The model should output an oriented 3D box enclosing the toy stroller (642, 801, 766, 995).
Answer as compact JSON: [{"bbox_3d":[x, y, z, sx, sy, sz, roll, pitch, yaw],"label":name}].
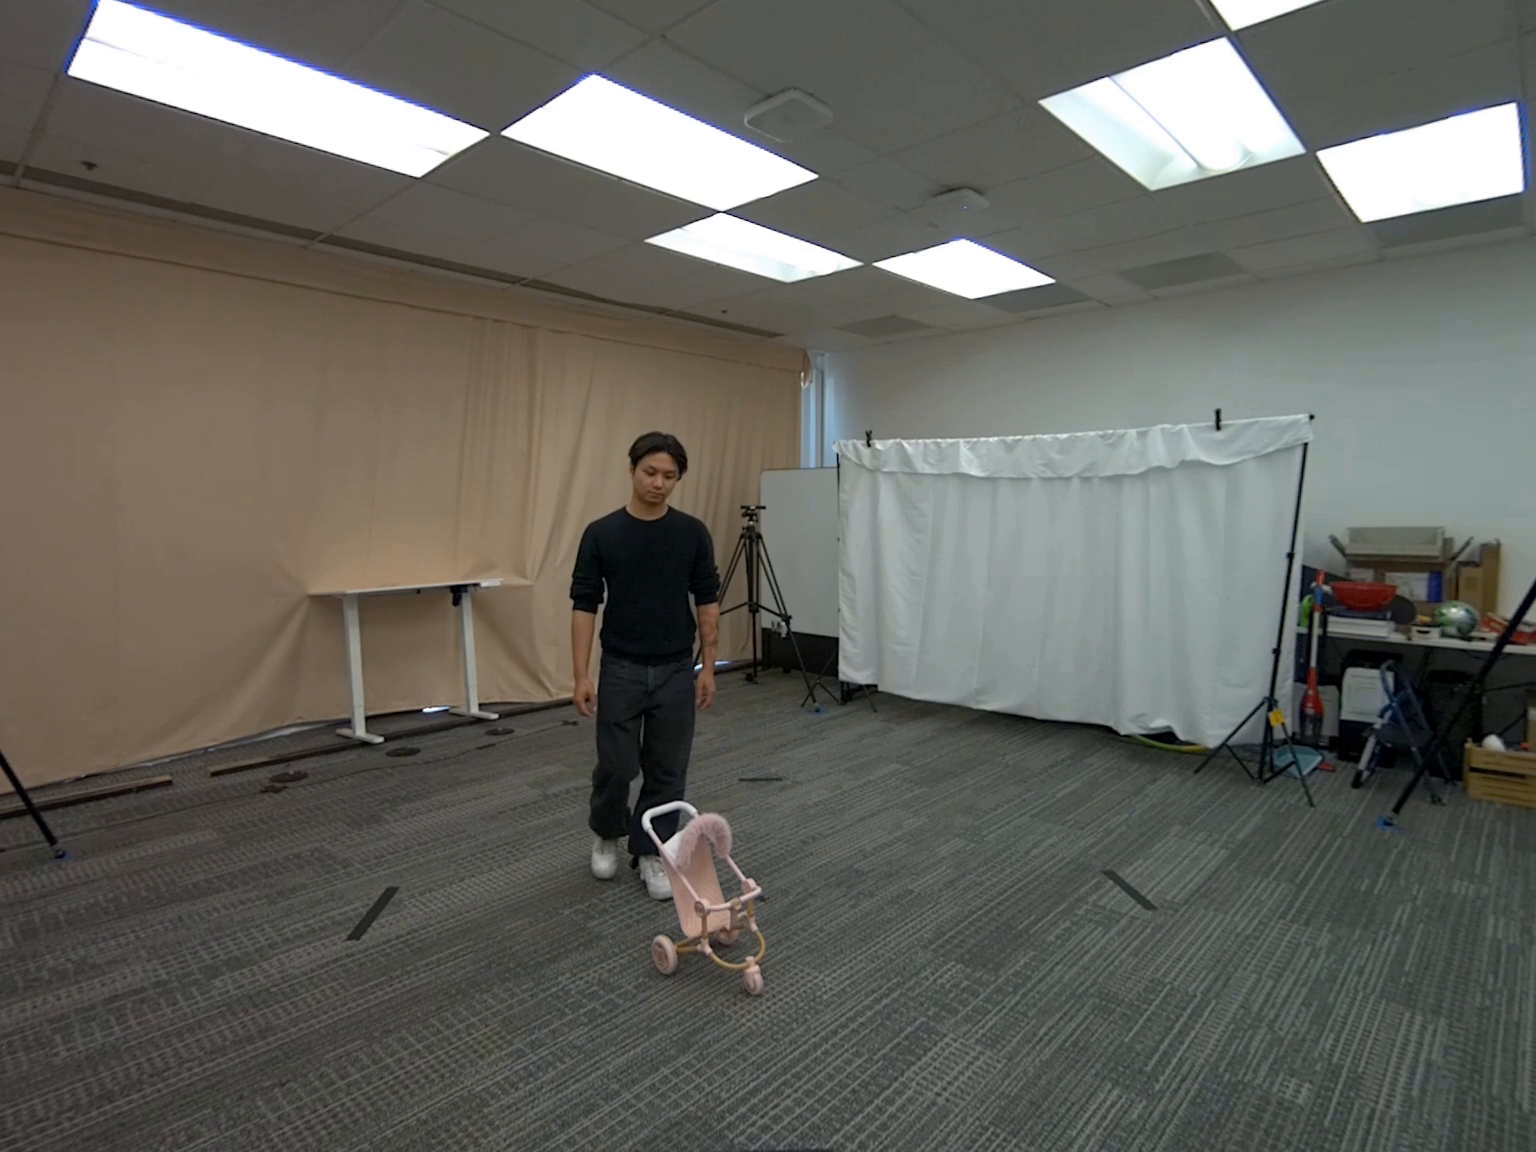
[{"bbox_3d":[-0.175,0.957,2.534,0.273,0.539,0.349,-3,-11,-40],"label":"toy stroller"}]
